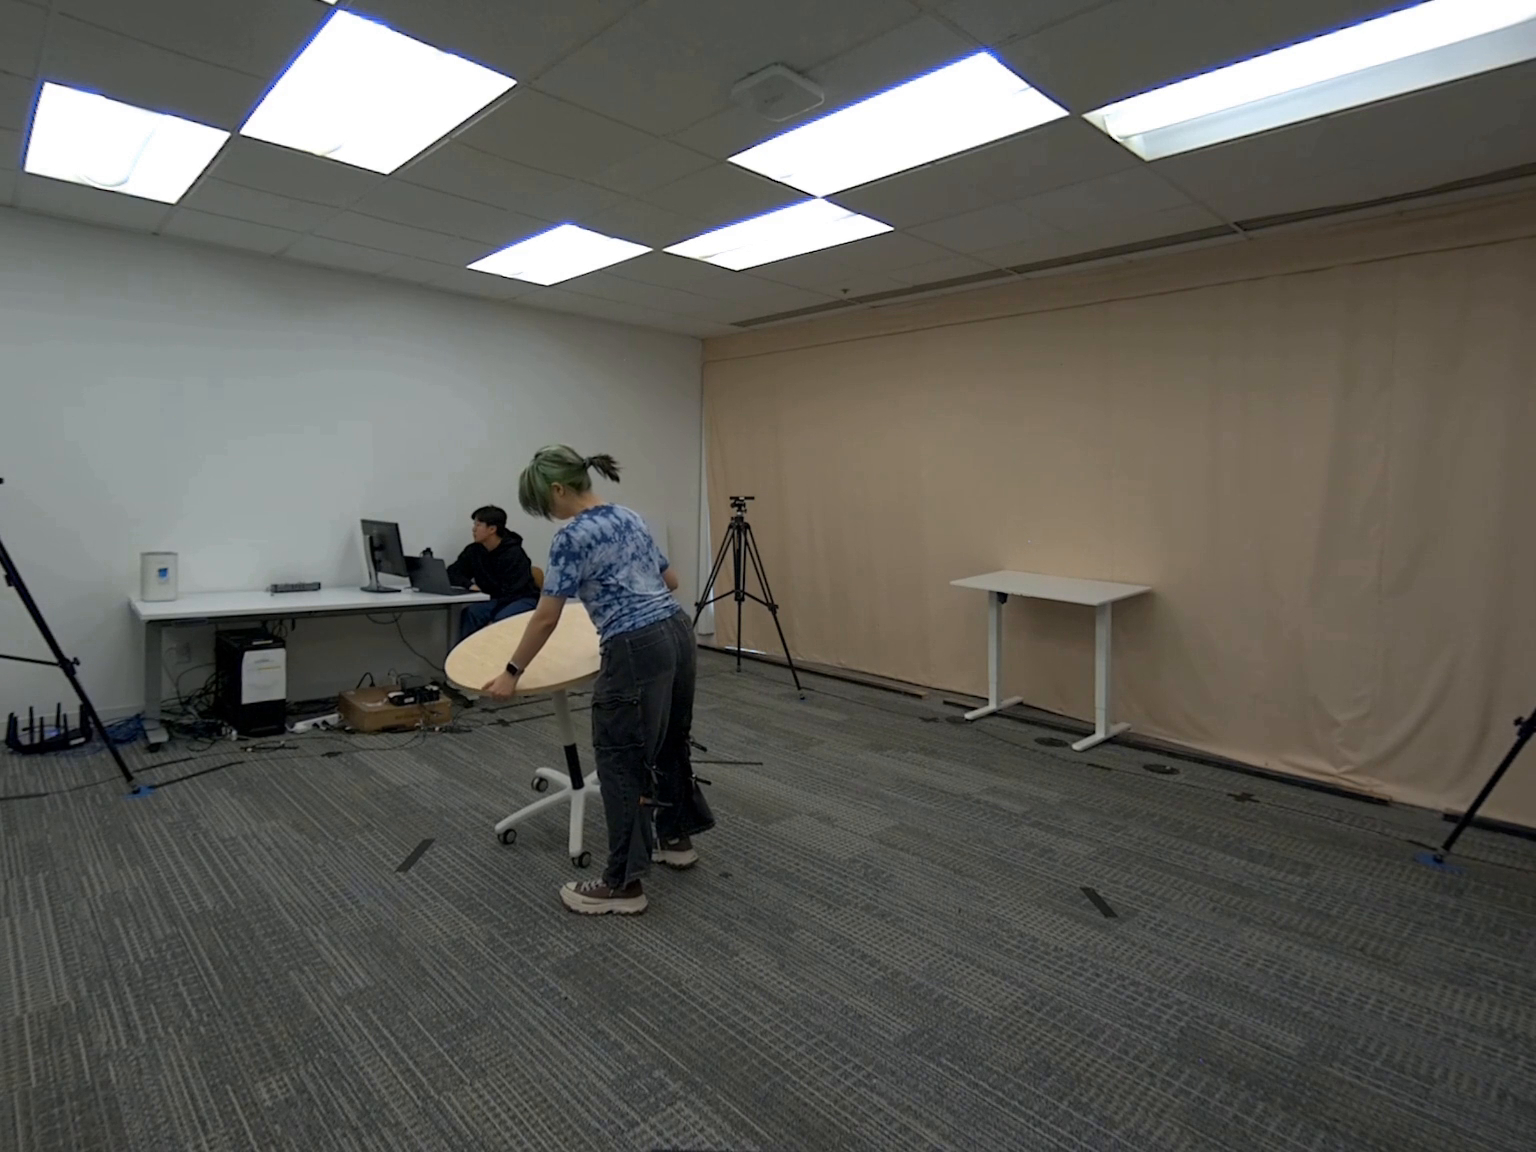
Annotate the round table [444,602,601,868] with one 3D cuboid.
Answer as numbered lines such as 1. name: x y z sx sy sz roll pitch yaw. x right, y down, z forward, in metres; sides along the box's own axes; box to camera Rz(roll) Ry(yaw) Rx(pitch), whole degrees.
1. round table: -0.811 0.622 3.350 0.765 0.783 0.774 -7 18 1
